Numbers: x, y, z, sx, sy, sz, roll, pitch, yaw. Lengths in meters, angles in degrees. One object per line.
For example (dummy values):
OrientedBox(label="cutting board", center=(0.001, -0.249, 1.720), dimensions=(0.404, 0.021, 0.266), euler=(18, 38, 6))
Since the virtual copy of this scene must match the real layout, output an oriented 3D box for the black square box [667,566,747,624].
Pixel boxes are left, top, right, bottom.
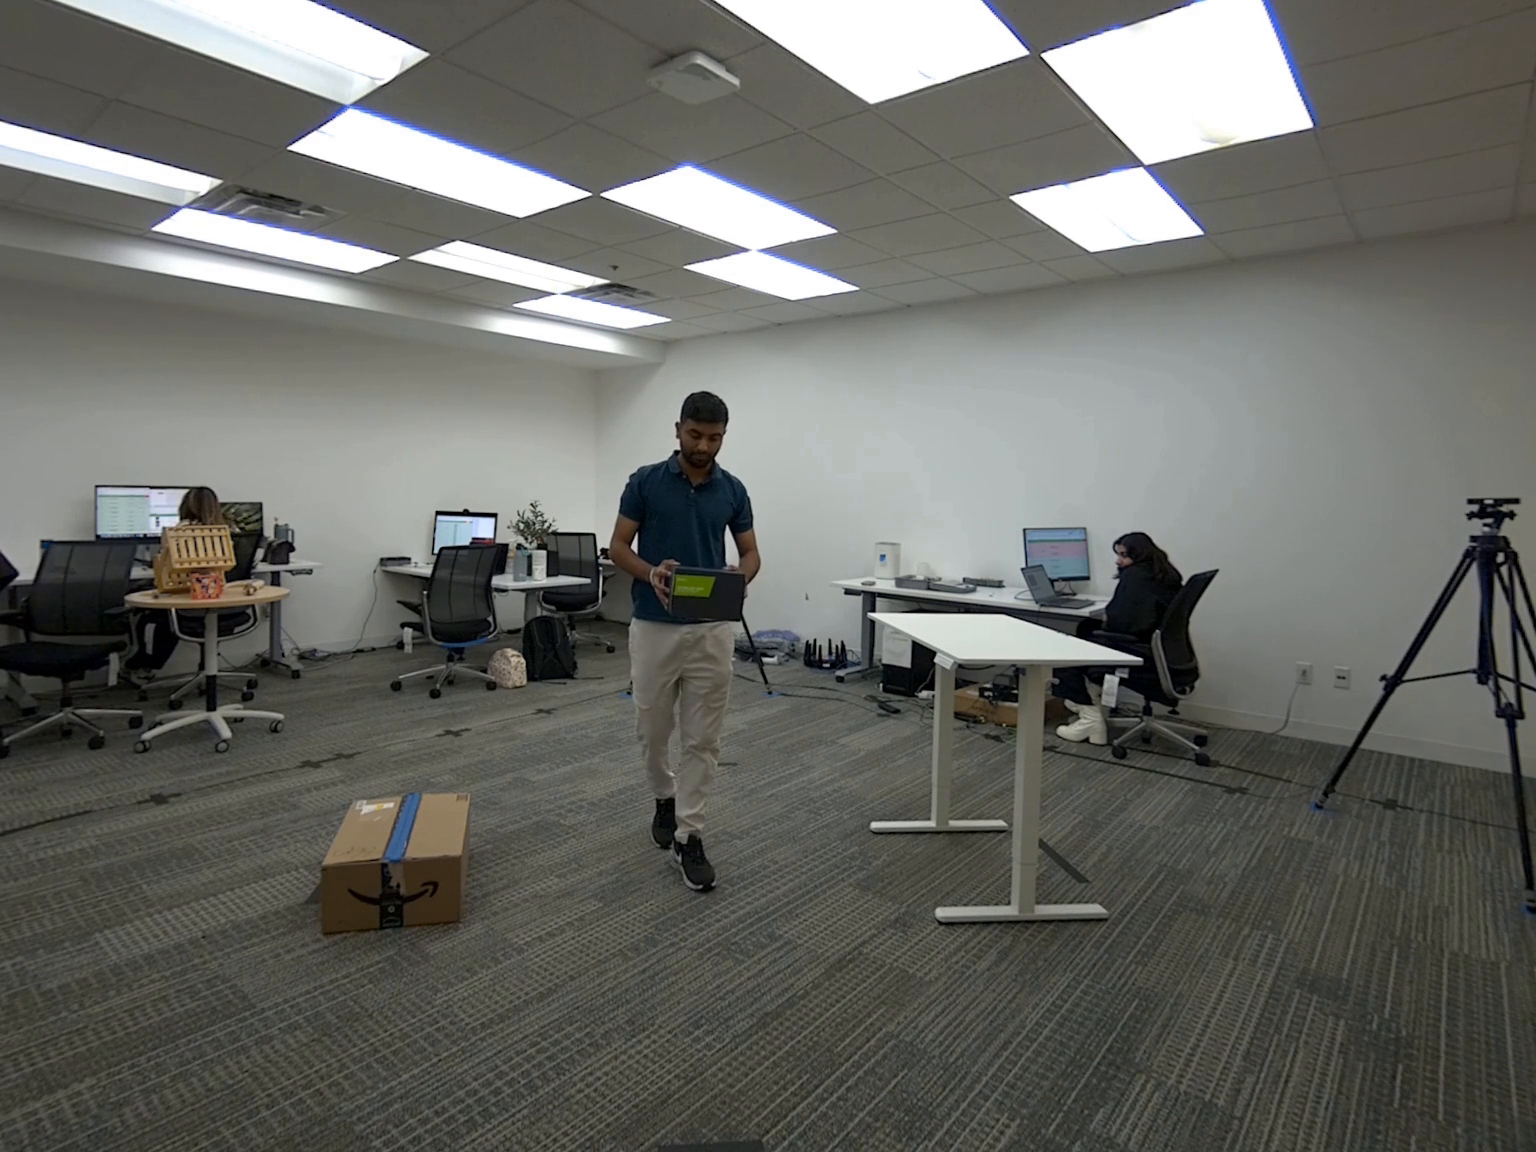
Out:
OrientedBox(label="black square box", center=(-0.208, 0.050, 2.802), dimensions=(0.227, 0.156, 0.218), euler=(4, 2, -5))
